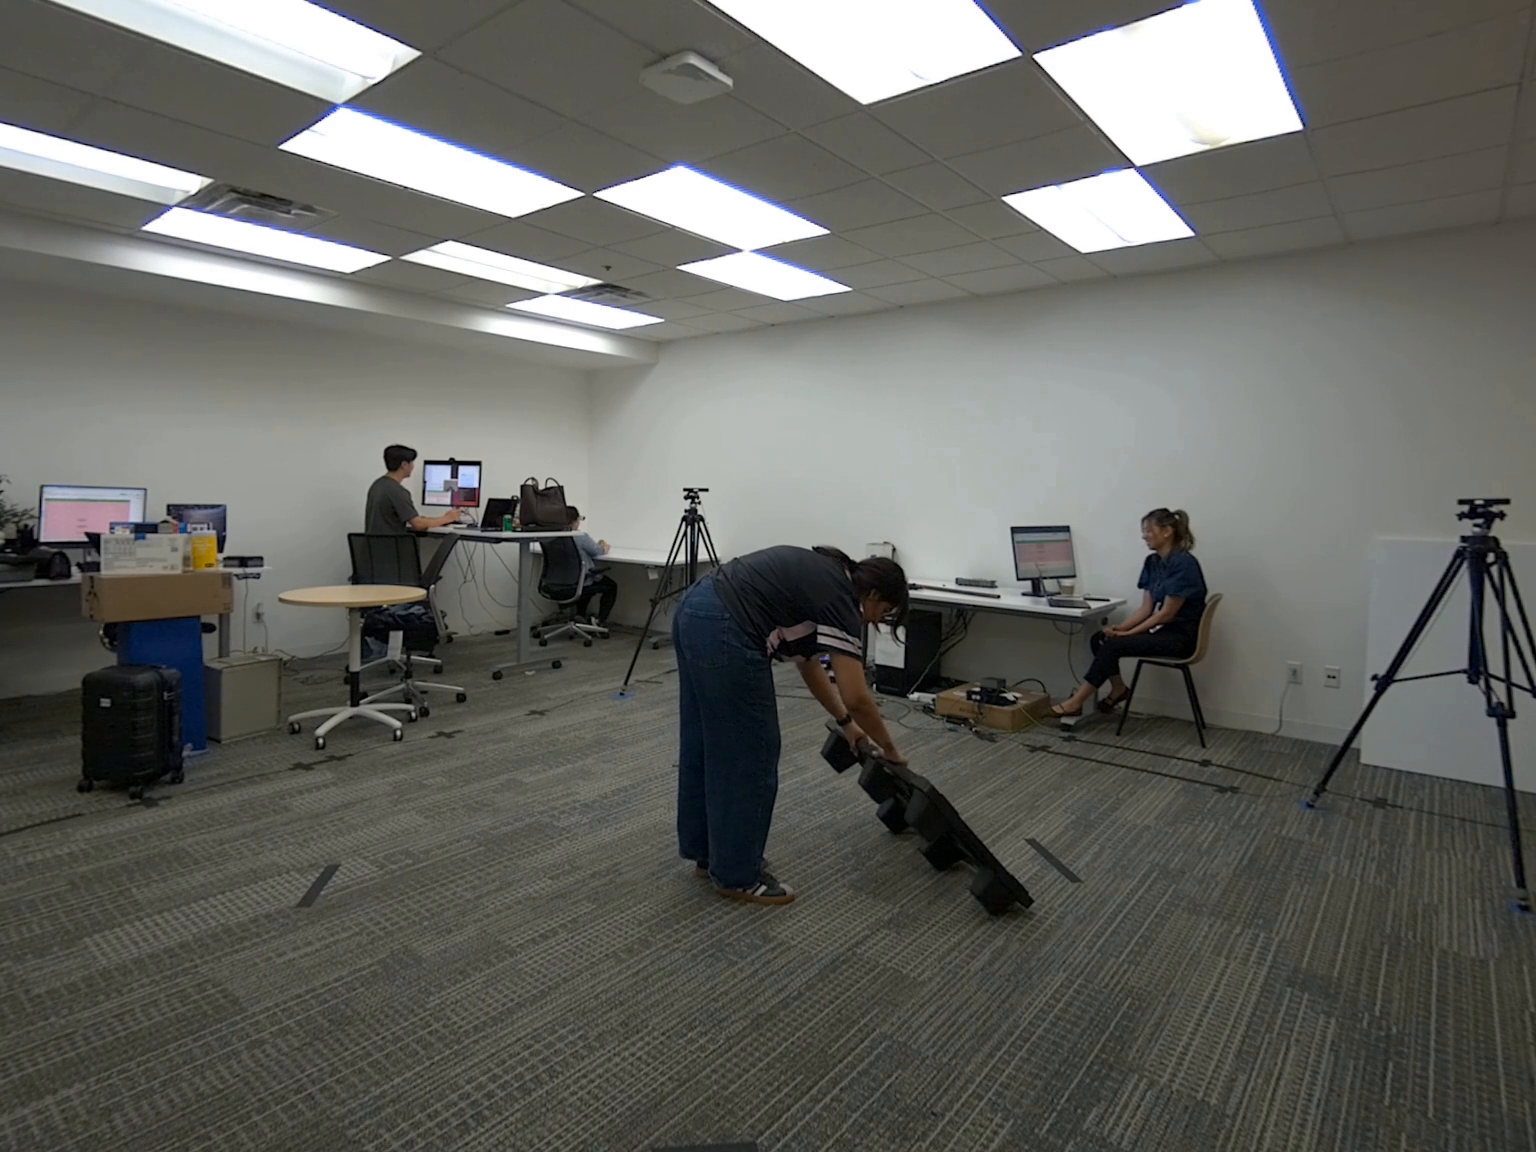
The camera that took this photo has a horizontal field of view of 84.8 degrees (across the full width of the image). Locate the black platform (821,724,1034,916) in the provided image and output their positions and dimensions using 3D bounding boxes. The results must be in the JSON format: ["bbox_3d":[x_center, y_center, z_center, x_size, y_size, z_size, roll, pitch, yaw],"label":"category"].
[{"bbox_3d":[0.515,0.864,3.126,0.143,0.594,0.823,-43,15,-10],"label":"black platform"}]
